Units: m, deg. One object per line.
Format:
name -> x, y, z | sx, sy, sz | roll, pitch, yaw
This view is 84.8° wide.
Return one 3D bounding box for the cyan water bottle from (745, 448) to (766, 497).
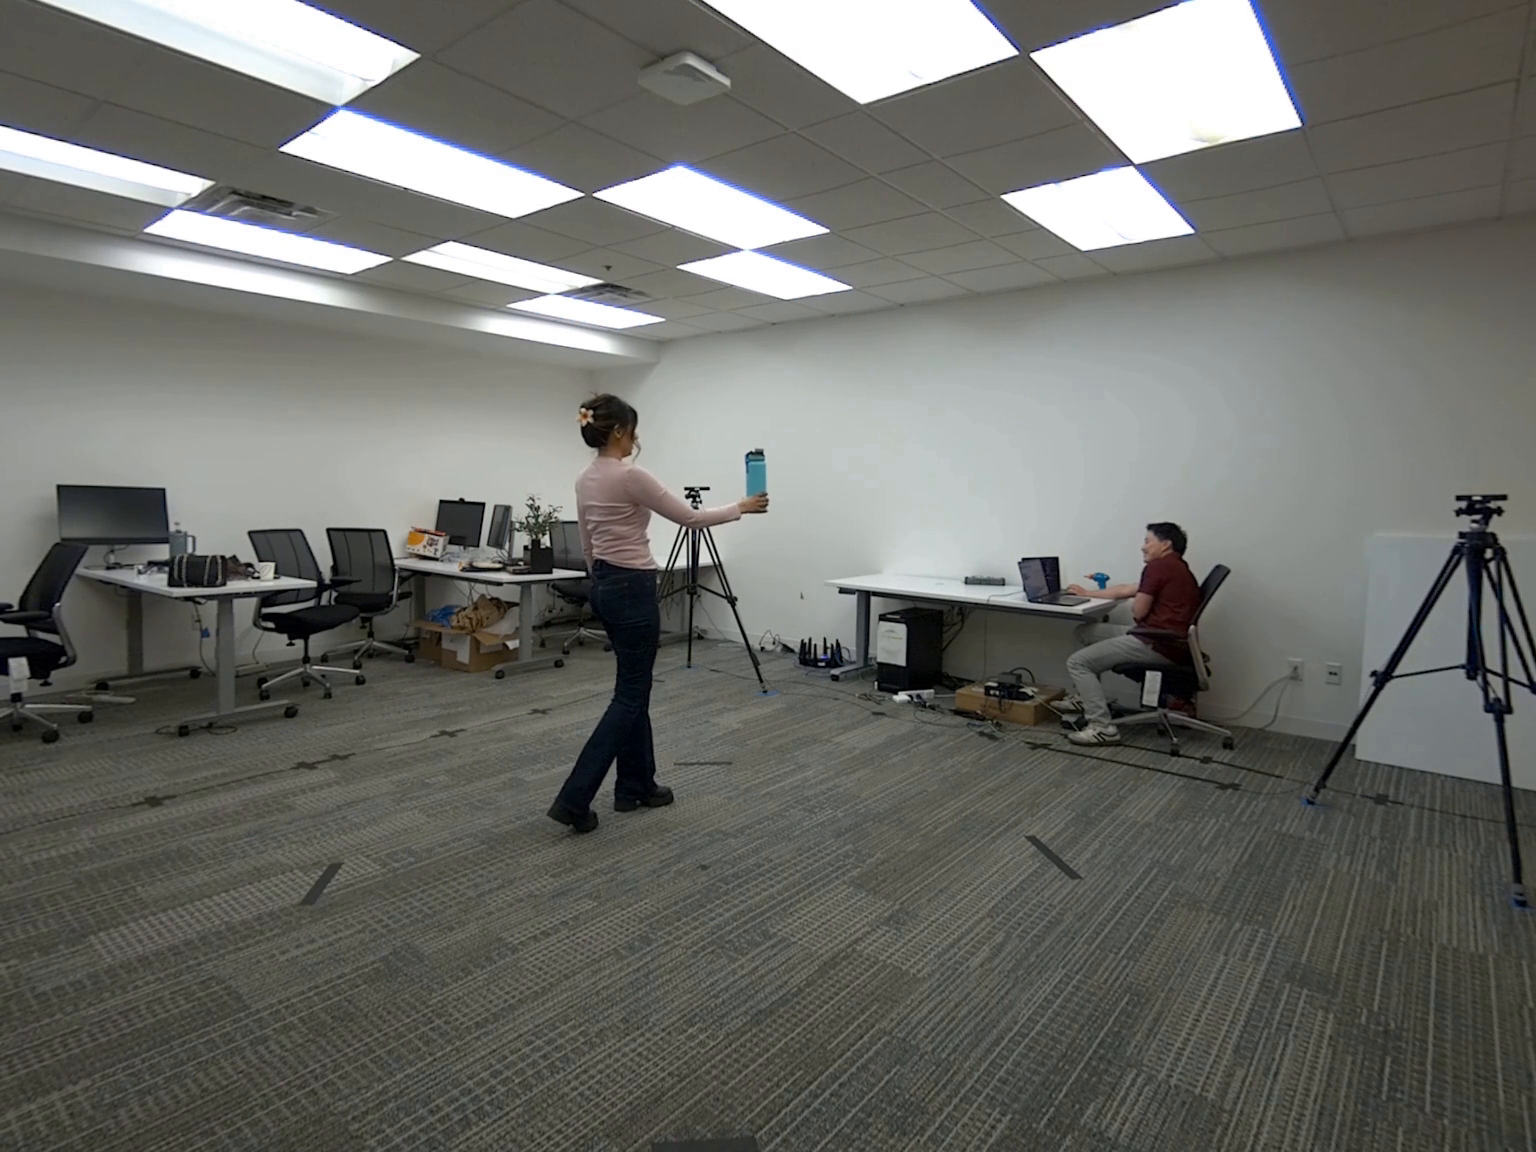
cyan water bottle -> -0.067, -0.422, 3.725 | 0.092, 0.281, 0.093 | -4, 6, -1
